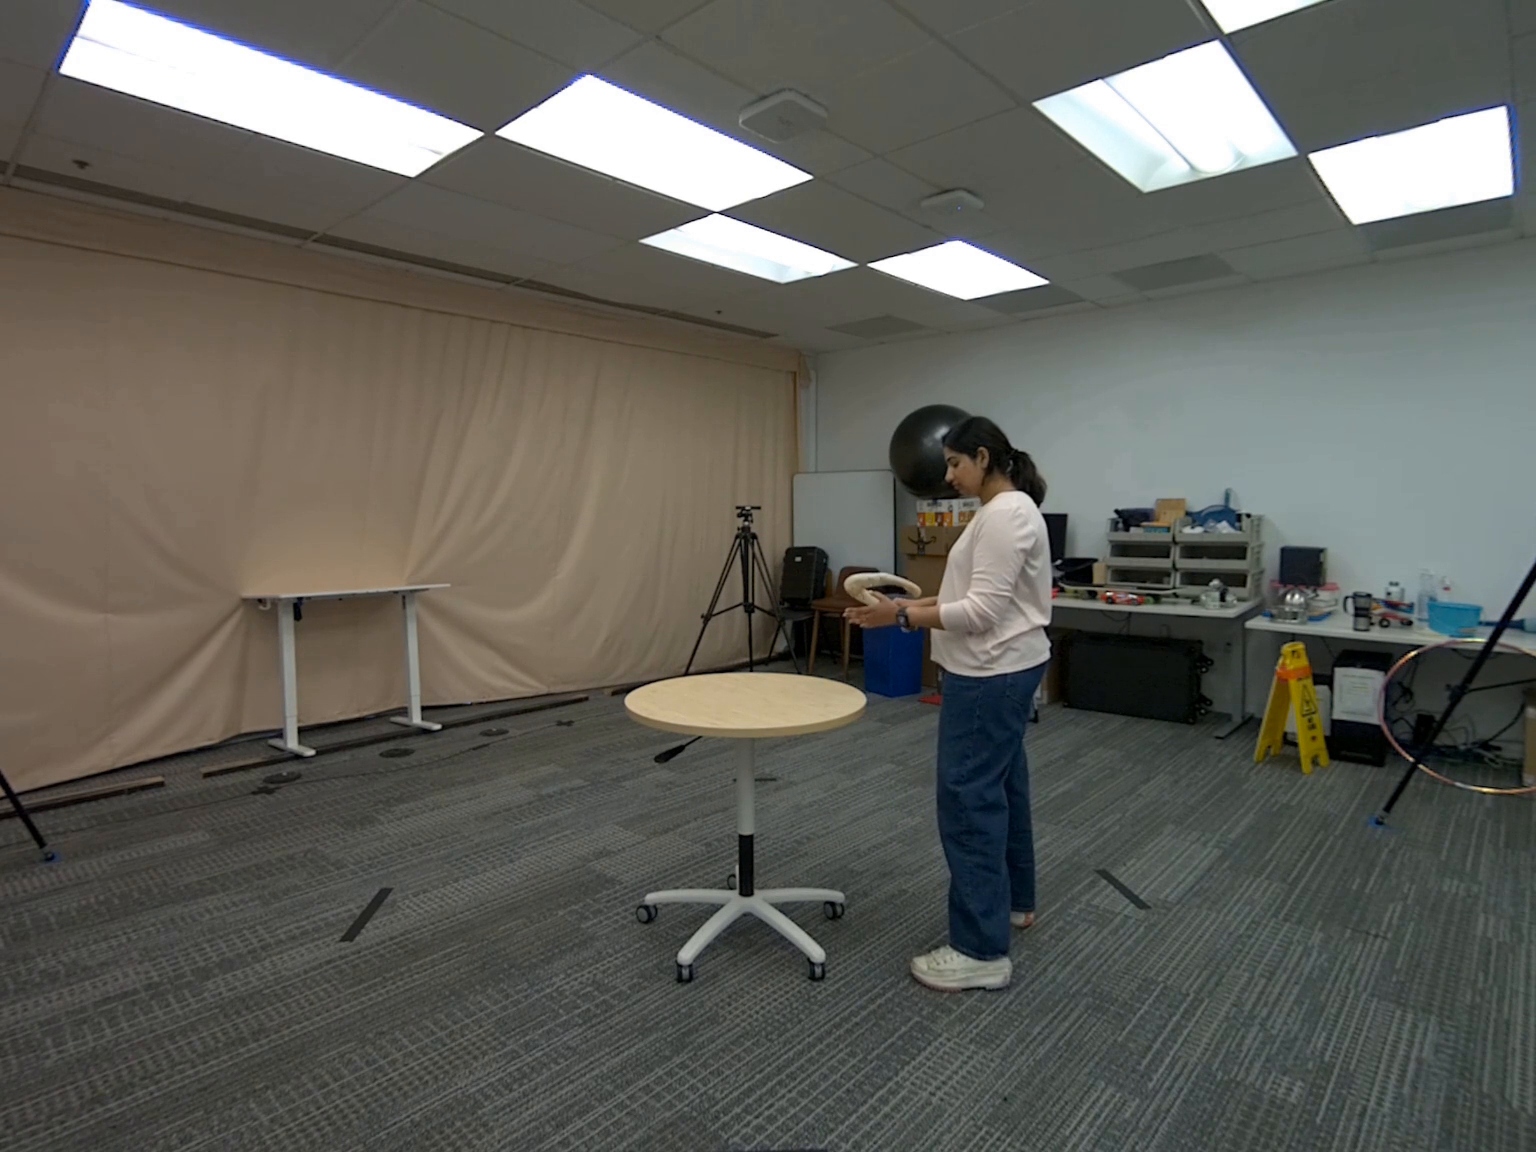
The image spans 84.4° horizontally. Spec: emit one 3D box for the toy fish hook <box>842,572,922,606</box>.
[{"bbox_3d":[0.443,0.104,2.732,0.230,0.049,0.489,0,-22,27],"label":"toy fish hook"}]
